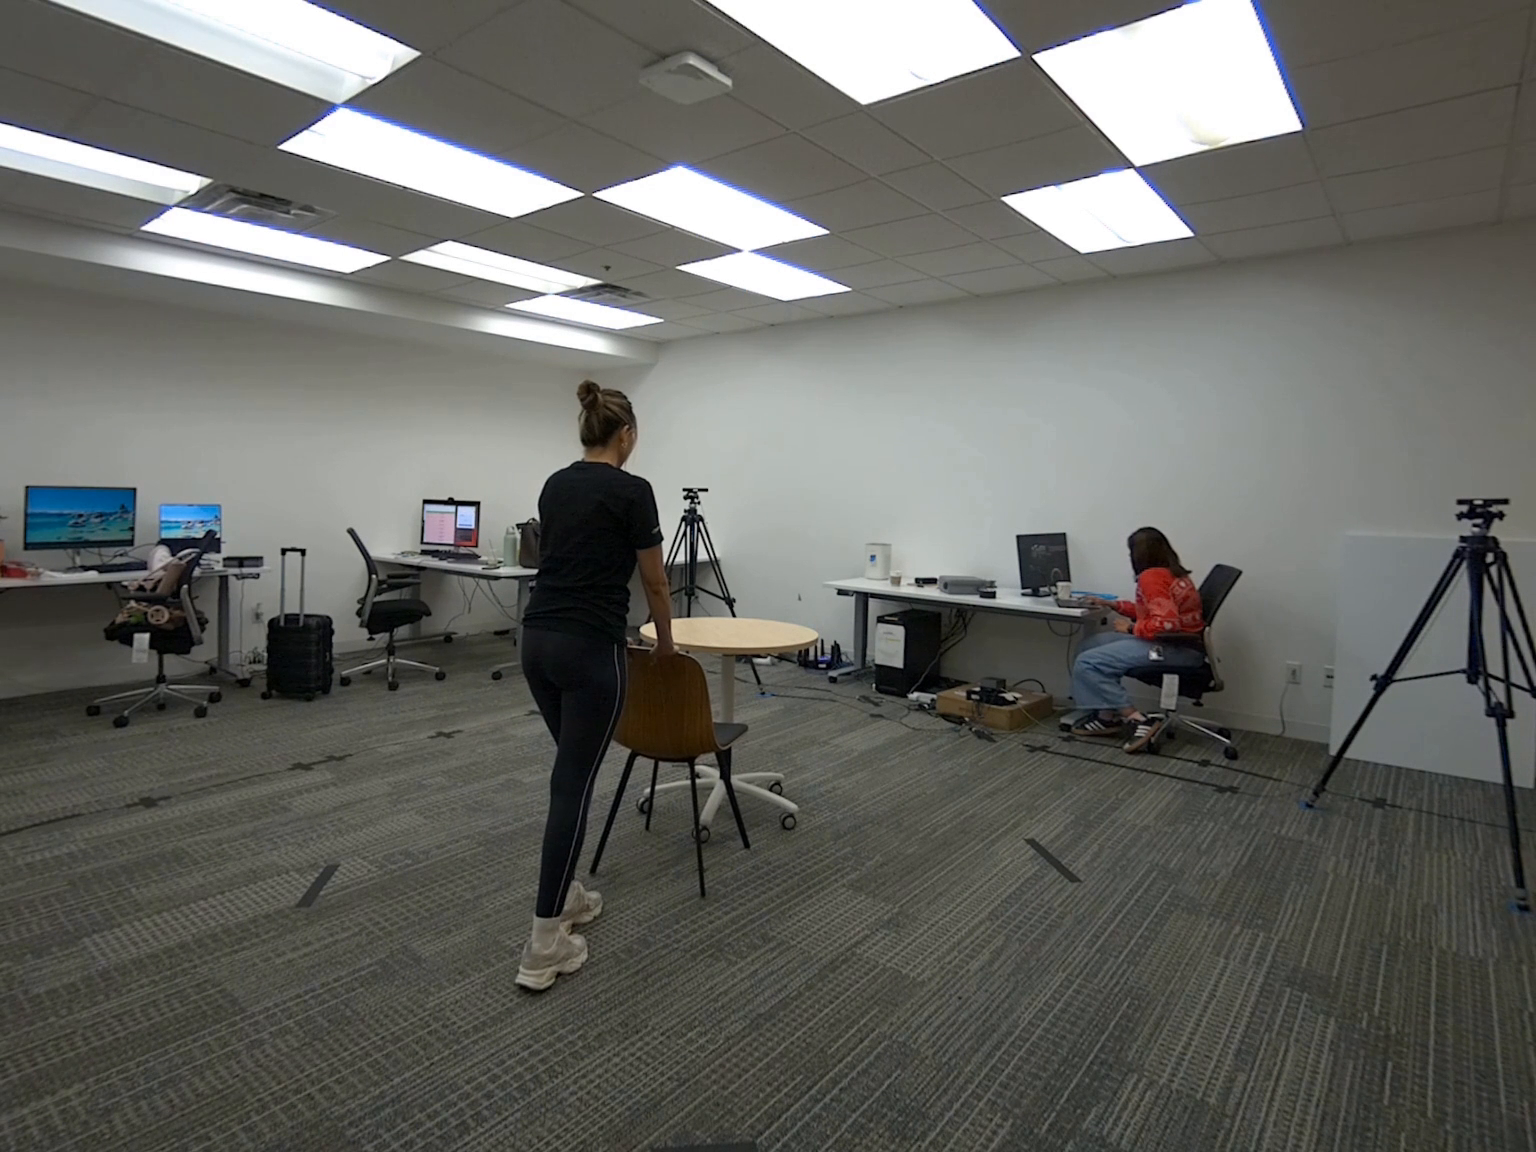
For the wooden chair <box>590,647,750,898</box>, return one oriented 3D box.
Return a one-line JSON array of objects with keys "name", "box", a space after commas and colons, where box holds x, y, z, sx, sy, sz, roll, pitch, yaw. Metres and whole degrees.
[{"name": "wooden chair", "box": [-0.353, 0.633, 3.160, 0.489, 0.872, 0.515, 2, 7, 21]}]
